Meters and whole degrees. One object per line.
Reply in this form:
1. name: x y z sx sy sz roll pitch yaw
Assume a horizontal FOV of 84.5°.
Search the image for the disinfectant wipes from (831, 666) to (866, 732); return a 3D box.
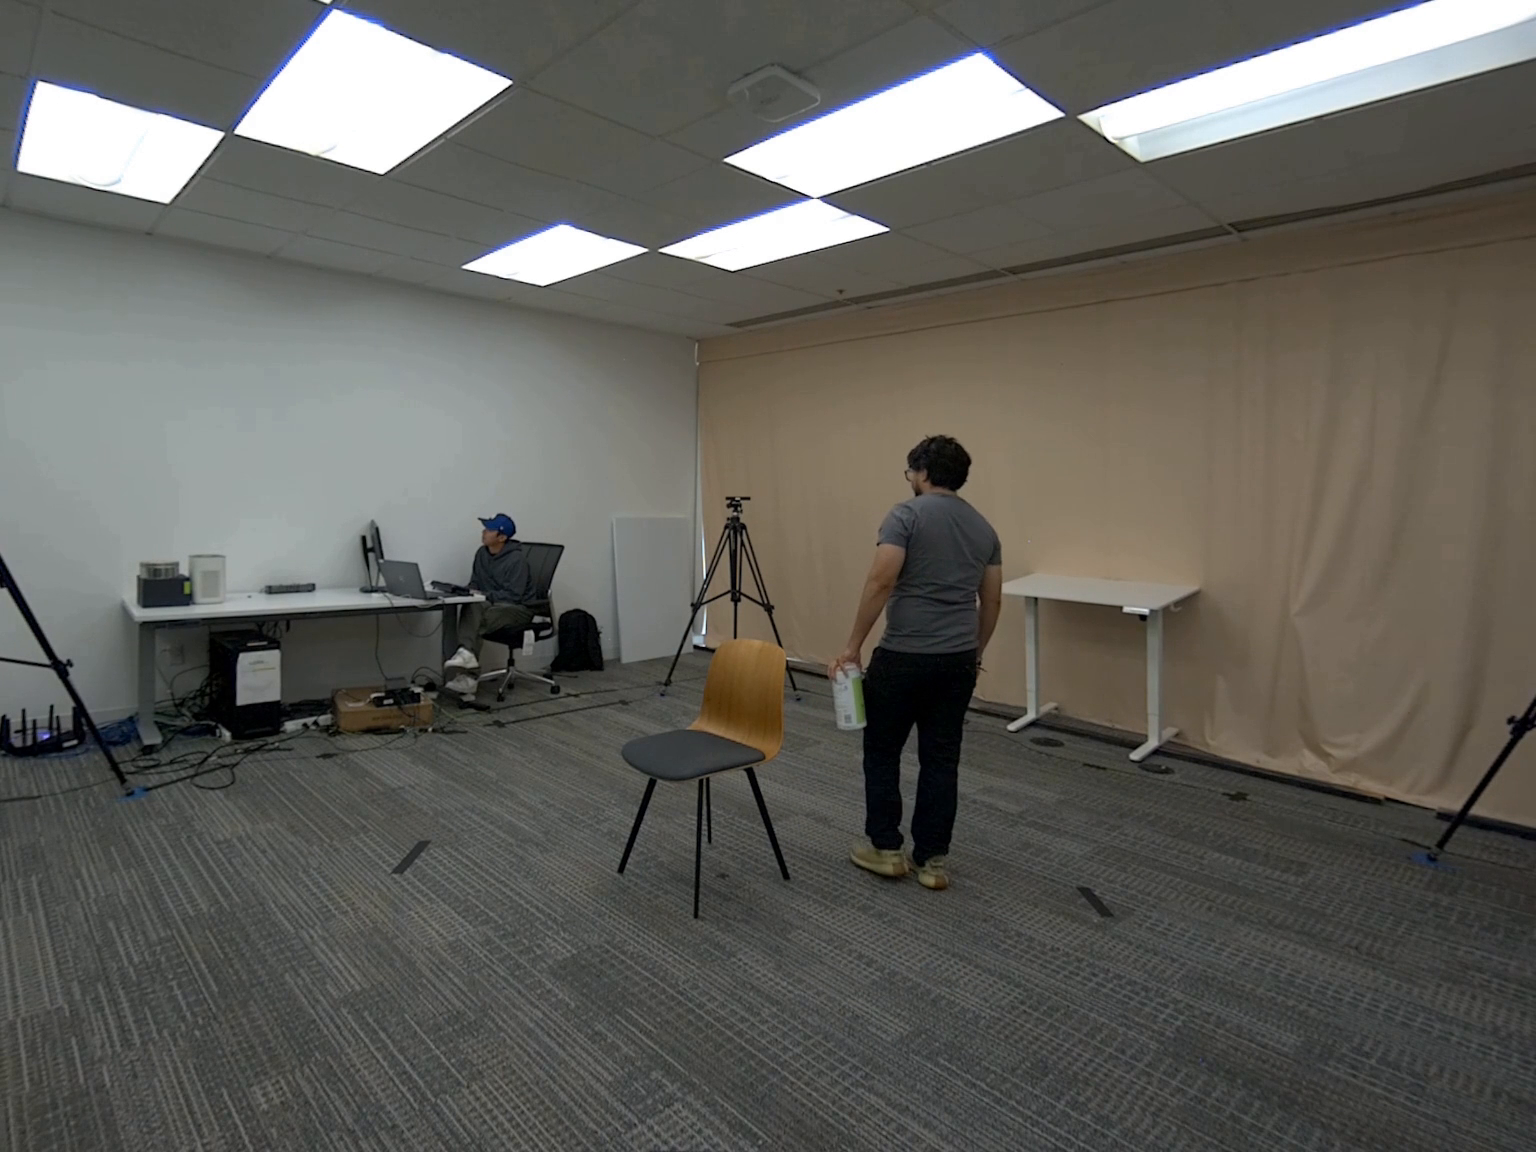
1. disinfectant wipes: 0.288 0.442 3.072 0.118 0.217 0.118 -7 1 -1
